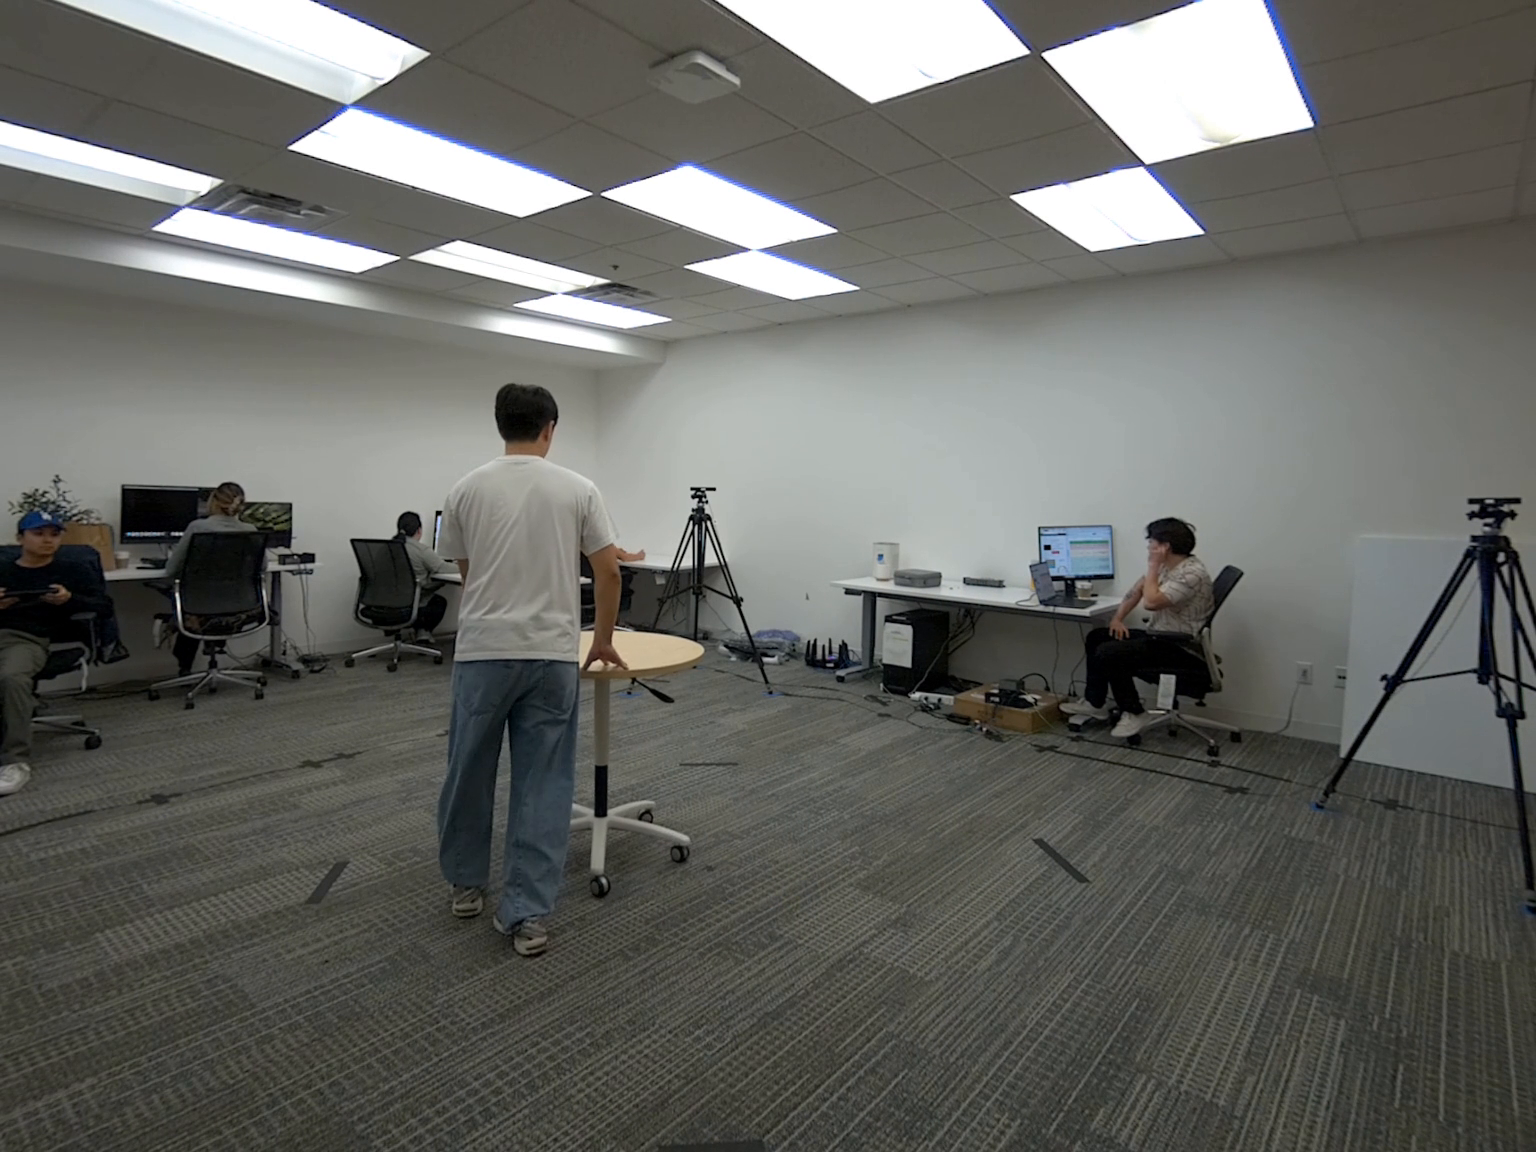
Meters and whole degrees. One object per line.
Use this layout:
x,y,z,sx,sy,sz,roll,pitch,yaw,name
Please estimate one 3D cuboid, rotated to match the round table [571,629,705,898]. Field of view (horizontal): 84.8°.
-0.635,0.663,3.213,0.763,0.791,0.768,1,4,-2,round table
